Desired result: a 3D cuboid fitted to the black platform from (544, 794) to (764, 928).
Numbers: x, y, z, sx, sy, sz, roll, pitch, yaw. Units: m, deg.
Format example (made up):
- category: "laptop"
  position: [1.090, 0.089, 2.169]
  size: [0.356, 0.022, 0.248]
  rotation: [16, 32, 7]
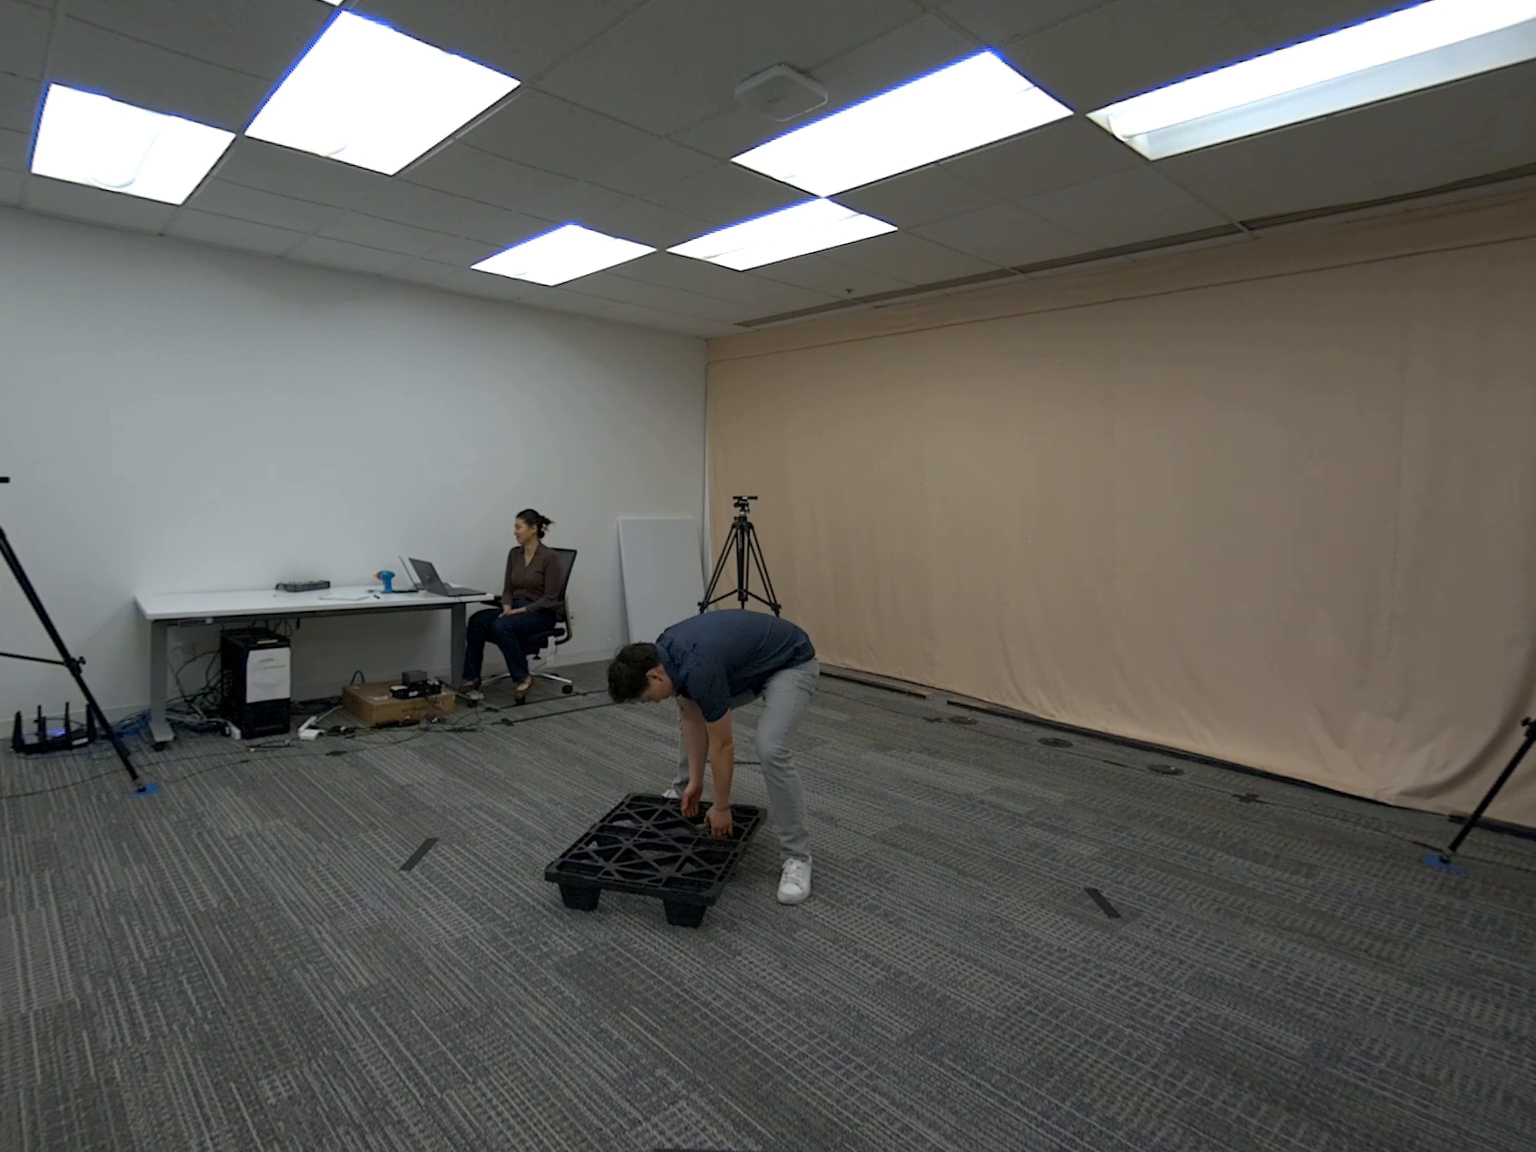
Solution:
- category: "black platform"
  position: [-0.378, 1.030, 3.114]
  size: [0.612, 0.143, 0.799]
  rotation: [3, 6, 13]
